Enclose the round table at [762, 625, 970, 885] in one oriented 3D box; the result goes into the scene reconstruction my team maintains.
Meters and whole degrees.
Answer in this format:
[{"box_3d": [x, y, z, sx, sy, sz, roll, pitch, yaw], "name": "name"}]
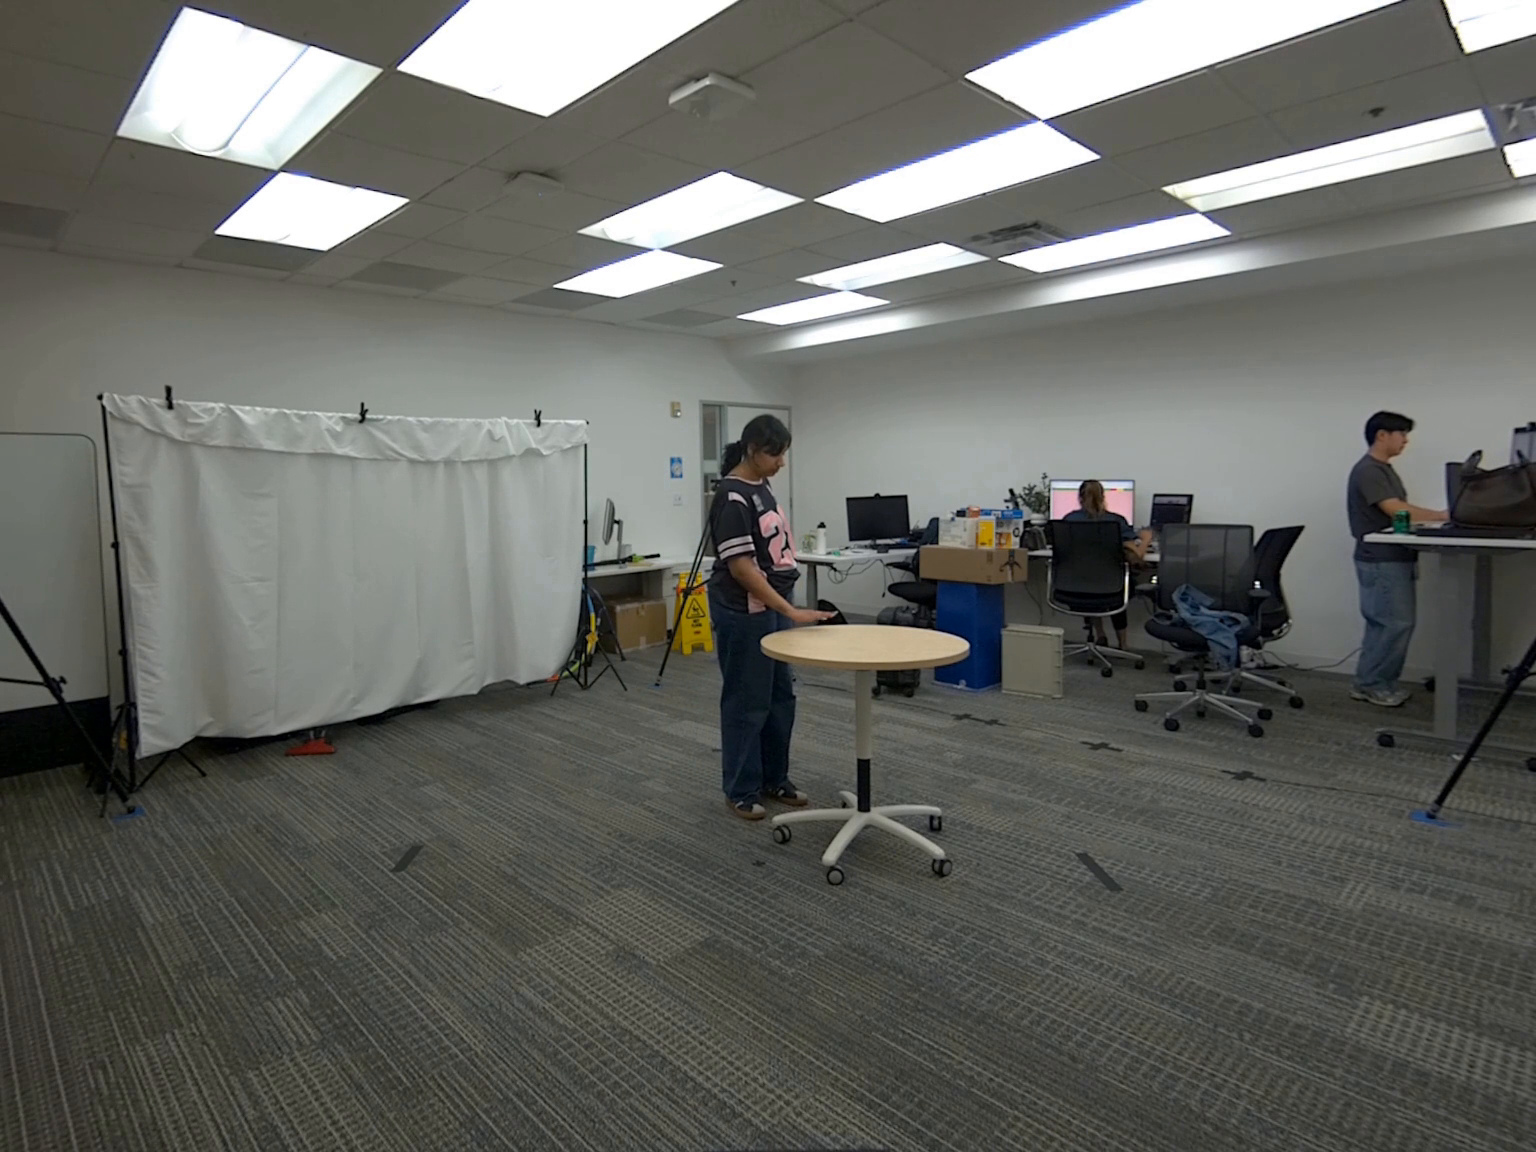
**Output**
[{"box_3d": [0.366, 0.633, 3.226, 0.784, 0.783, 0.789, -1, 5, -2], "name": "round table"}]
